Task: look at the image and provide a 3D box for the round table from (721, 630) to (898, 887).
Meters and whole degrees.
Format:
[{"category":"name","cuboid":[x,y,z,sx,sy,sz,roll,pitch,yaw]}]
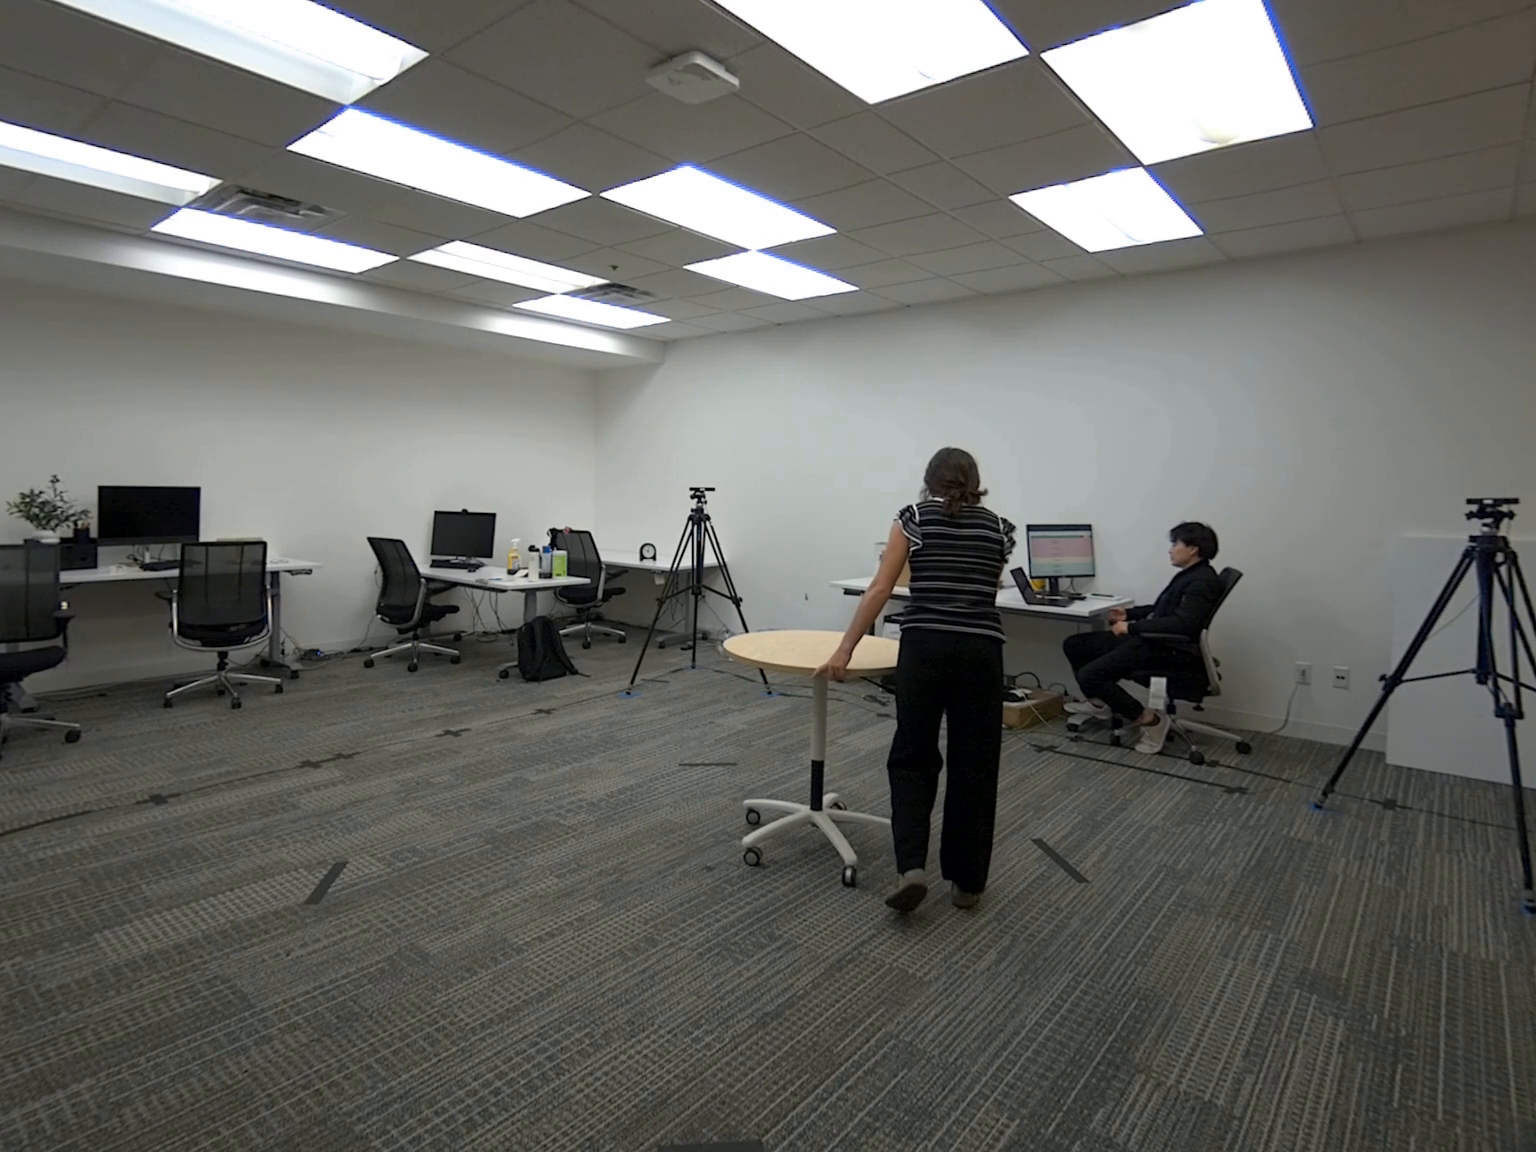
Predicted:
[{"category":"round table","cuboid":[0.184,0.666,3.326,0.763,0.791,0.768,2,4,-2]}]
